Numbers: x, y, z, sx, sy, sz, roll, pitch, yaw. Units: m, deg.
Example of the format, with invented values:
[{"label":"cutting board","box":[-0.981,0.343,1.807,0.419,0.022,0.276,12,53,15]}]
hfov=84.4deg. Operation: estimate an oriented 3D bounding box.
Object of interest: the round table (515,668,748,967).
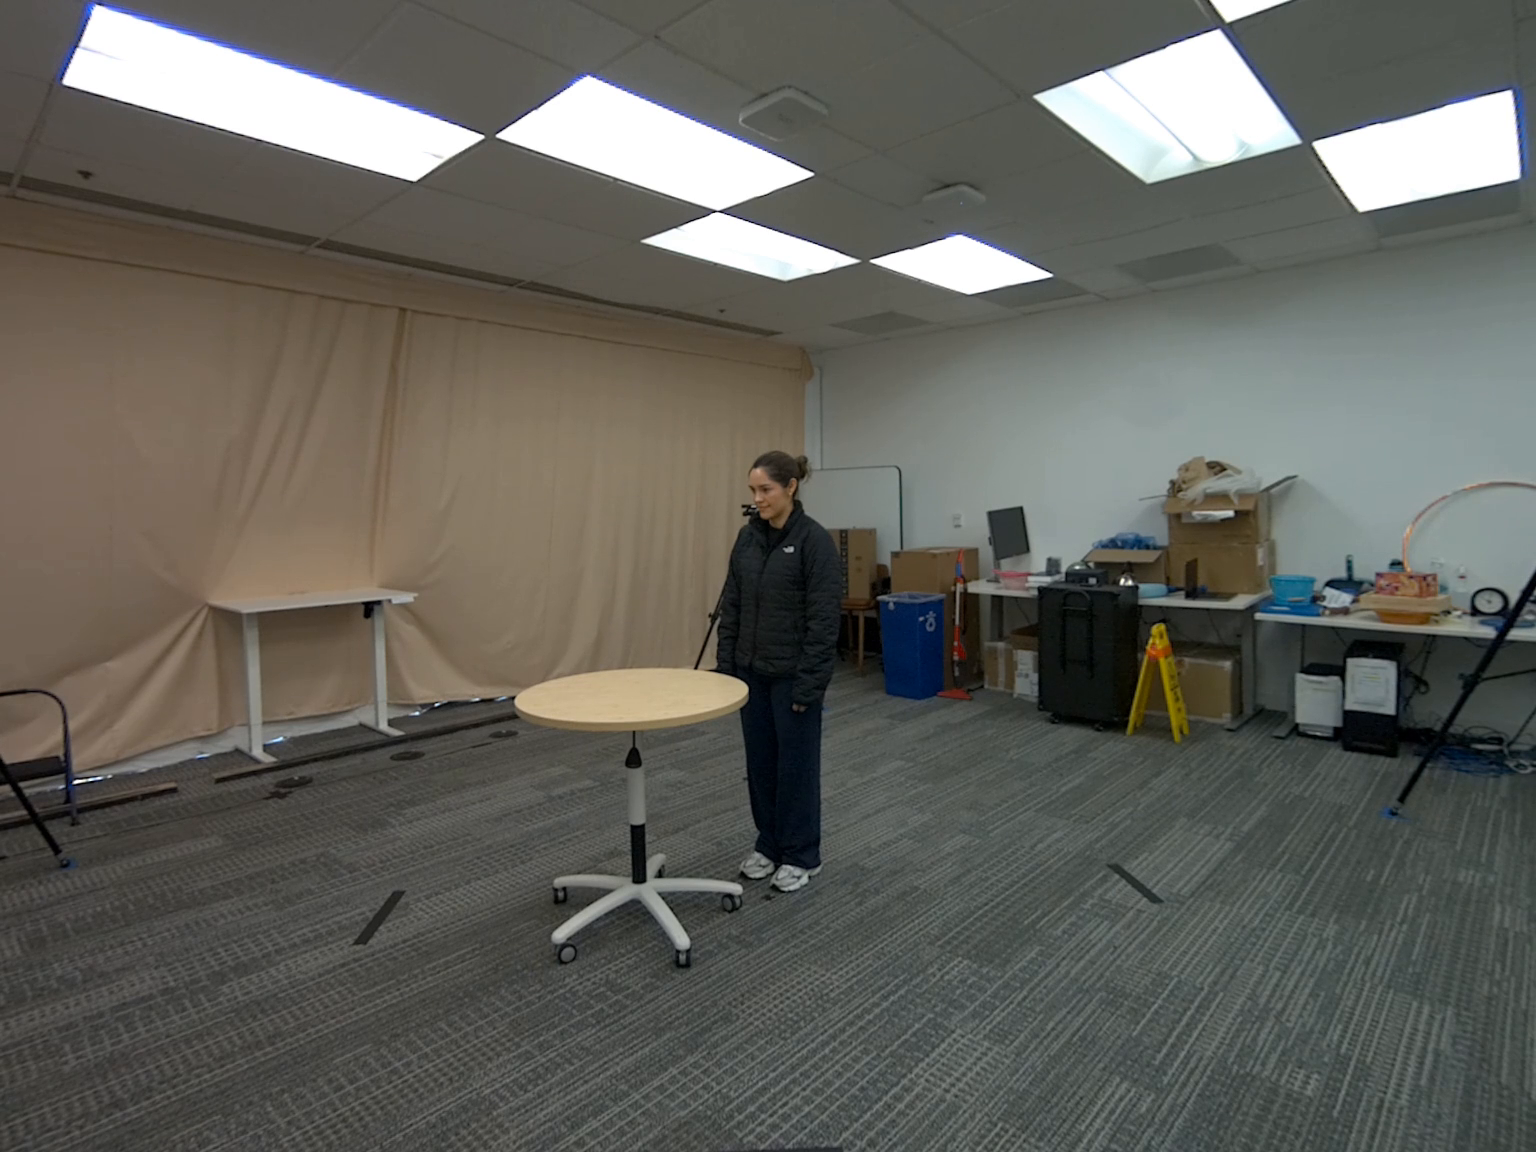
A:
[{"label":"round table","box":[-0.413,0.772,2.803,0.784,0.784,0.788,-2,4,-2]}]
